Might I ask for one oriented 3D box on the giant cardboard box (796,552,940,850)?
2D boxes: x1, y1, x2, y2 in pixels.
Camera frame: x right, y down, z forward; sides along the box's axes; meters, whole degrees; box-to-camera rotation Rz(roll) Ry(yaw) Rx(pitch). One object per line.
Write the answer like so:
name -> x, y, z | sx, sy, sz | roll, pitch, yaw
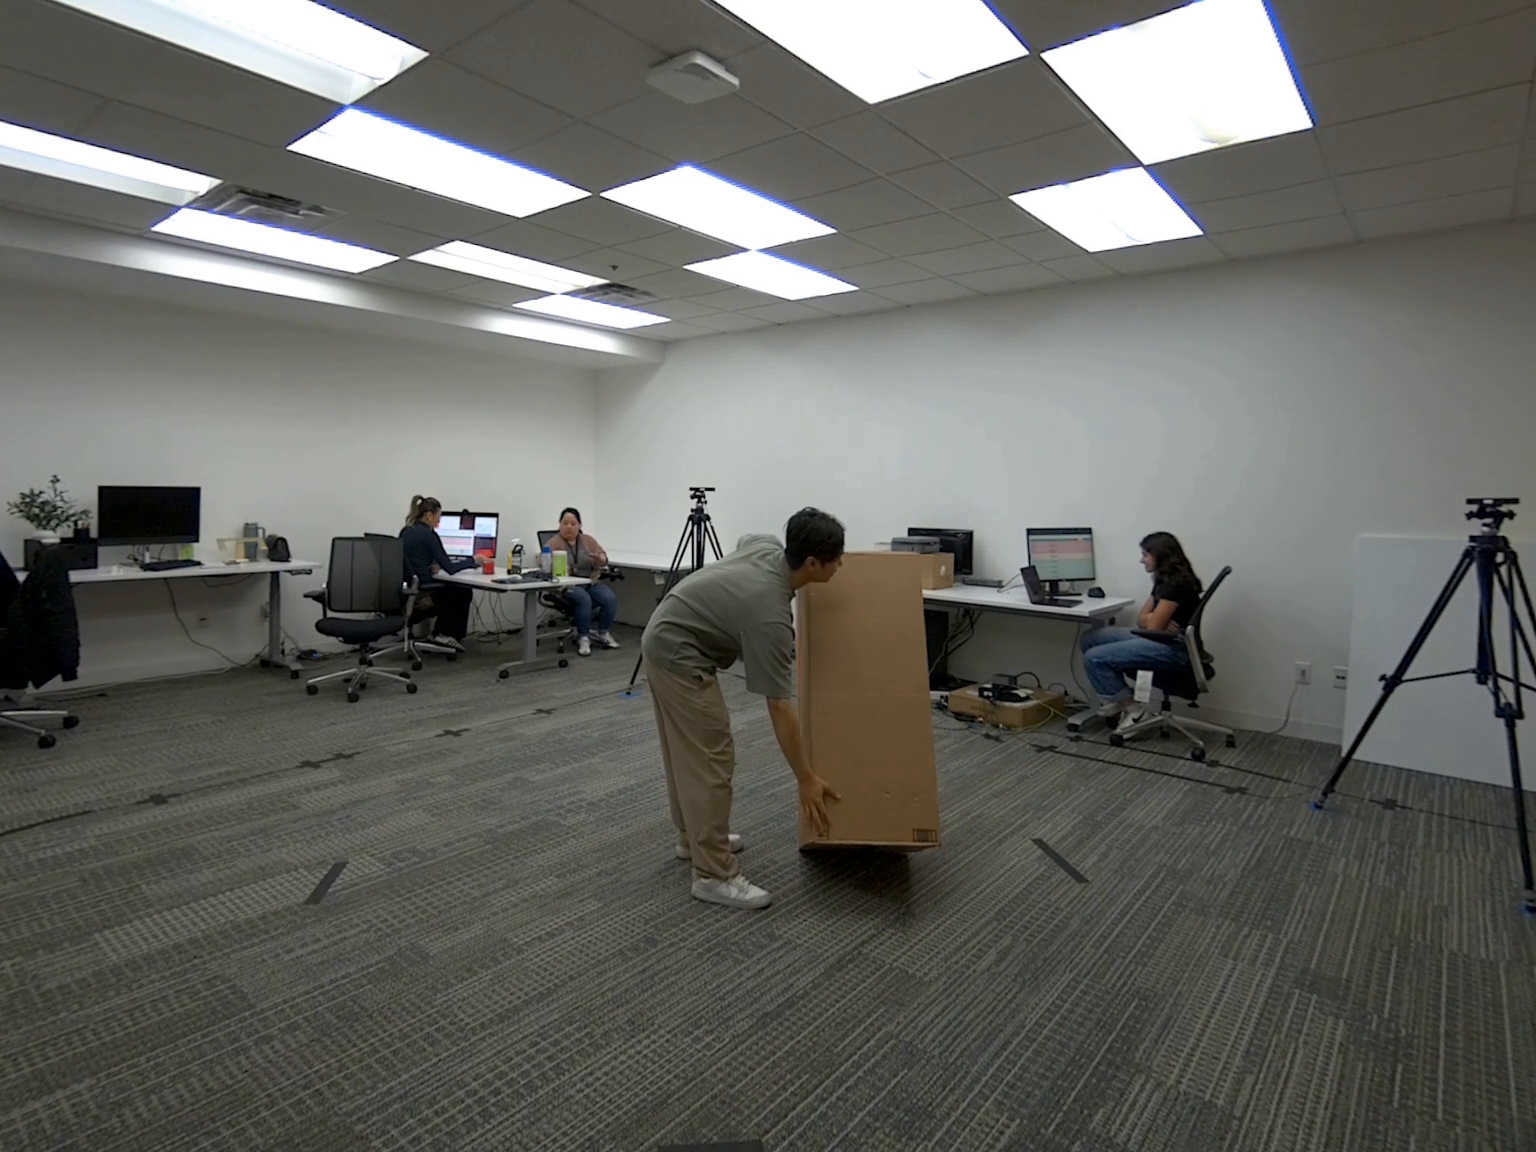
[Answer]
giant cardboard box -> 0.337, 0.488, 3.223 | 0.426, 1.047, 0.567 | 1, -22, -2
